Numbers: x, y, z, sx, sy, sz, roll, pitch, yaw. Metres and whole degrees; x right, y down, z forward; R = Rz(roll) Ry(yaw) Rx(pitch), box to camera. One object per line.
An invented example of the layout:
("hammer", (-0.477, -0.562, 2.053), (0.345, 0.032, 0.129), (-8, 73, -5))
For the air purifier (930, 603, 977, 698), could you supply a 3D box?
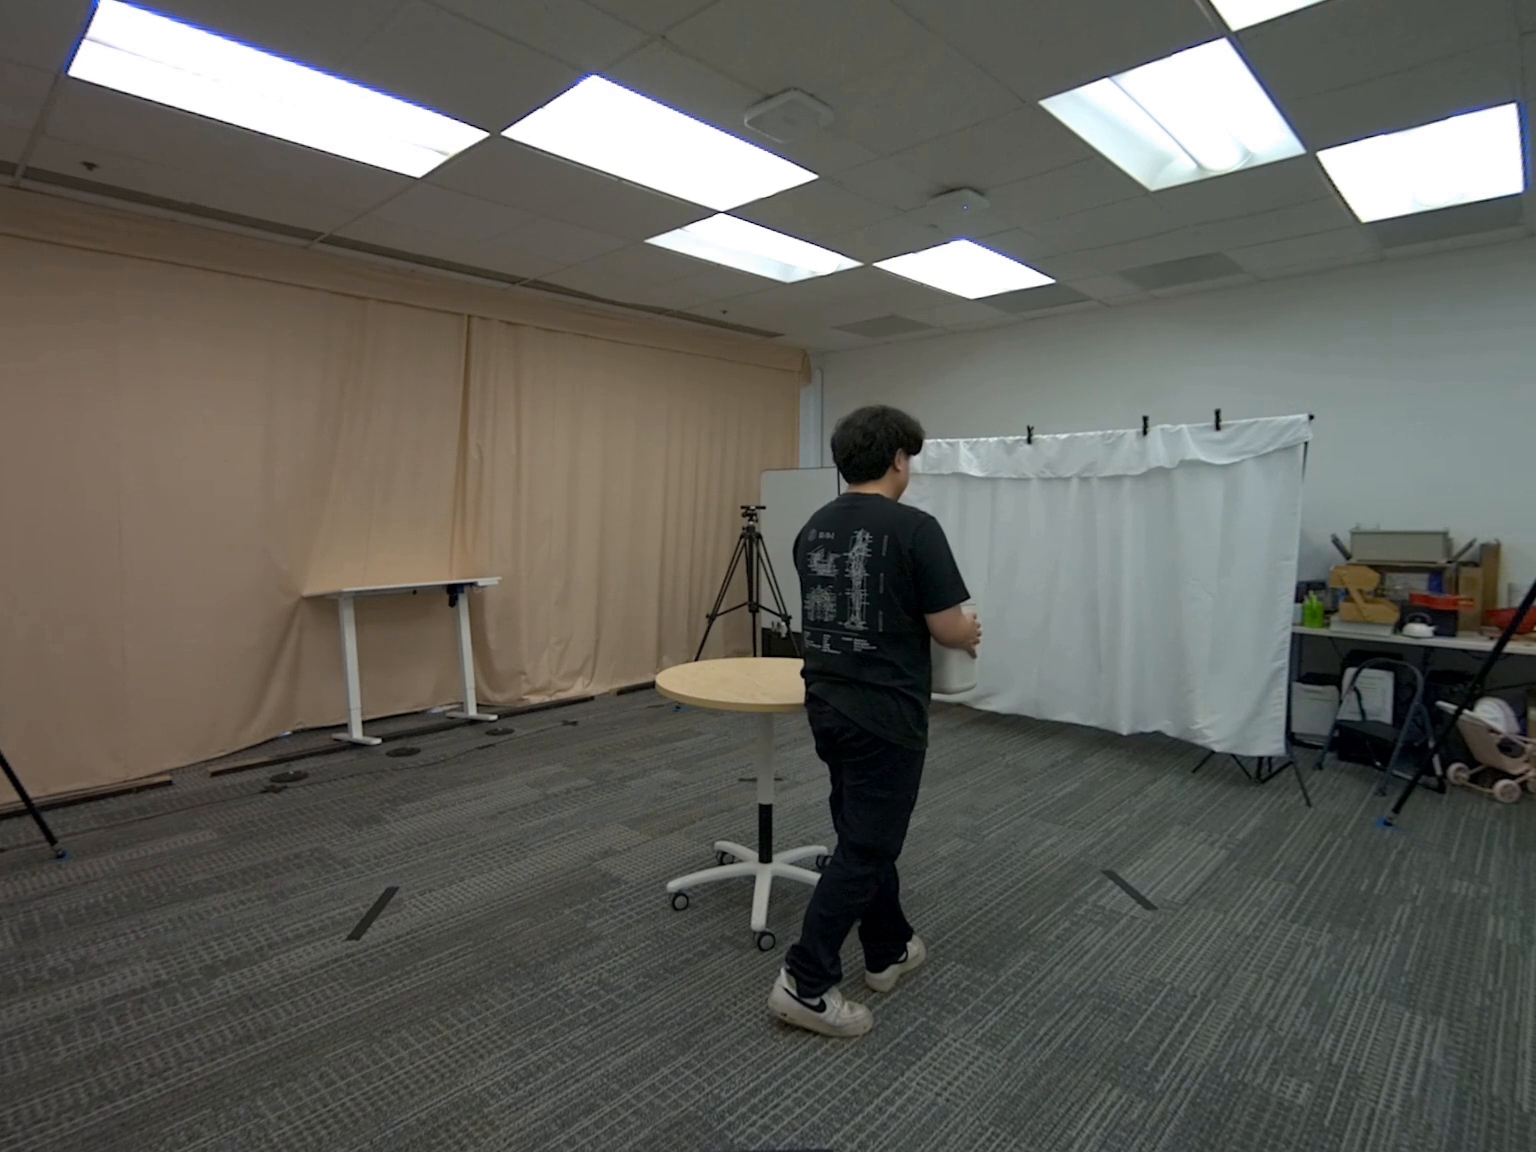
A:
("air purifier", (0.538, 0.217, 2.522), (0.166, 0.265, 0.176), (-3, 1, -44))
